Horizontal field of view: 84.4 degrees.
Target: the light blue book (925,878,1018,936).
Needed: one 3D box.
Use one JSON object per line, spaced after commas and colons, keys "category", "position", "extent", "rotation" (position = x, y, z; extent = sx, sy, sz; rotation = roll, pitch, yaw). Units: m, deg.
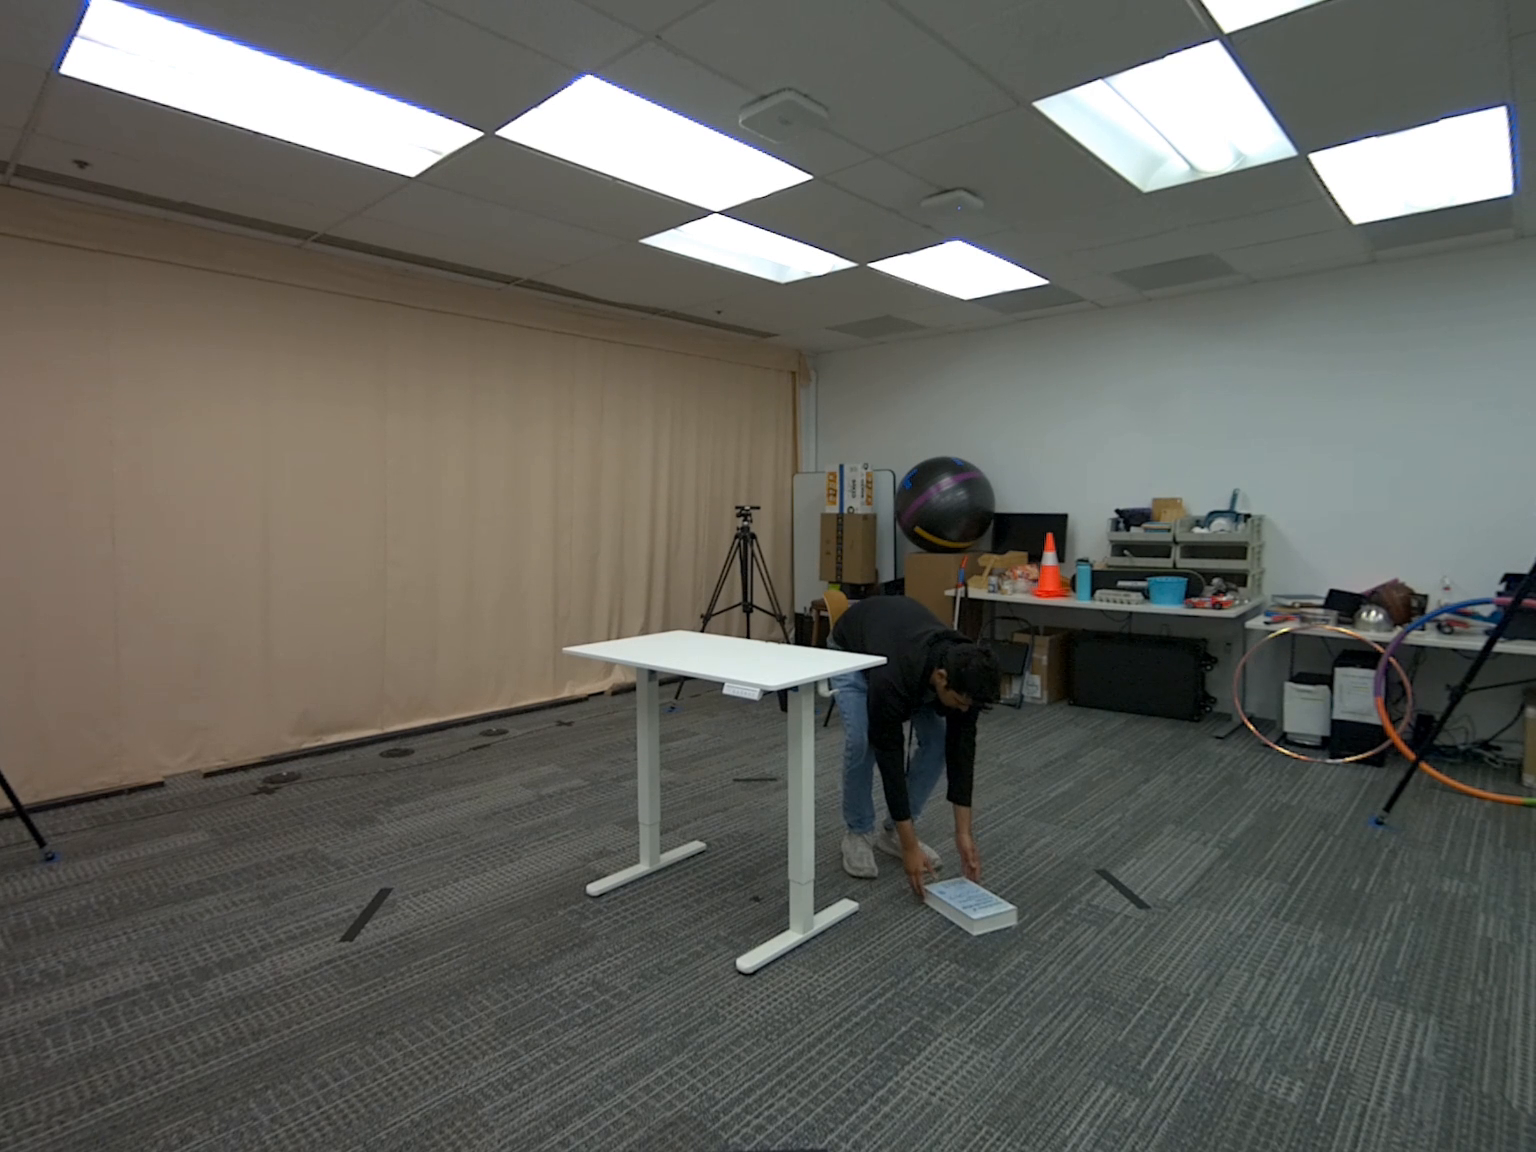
{"category": "light blue book", "position": [0.694, 1.121, 2.873], "extent": [0.187, 0.059, 0.268], "rotation": [-3, 5, -26]}
